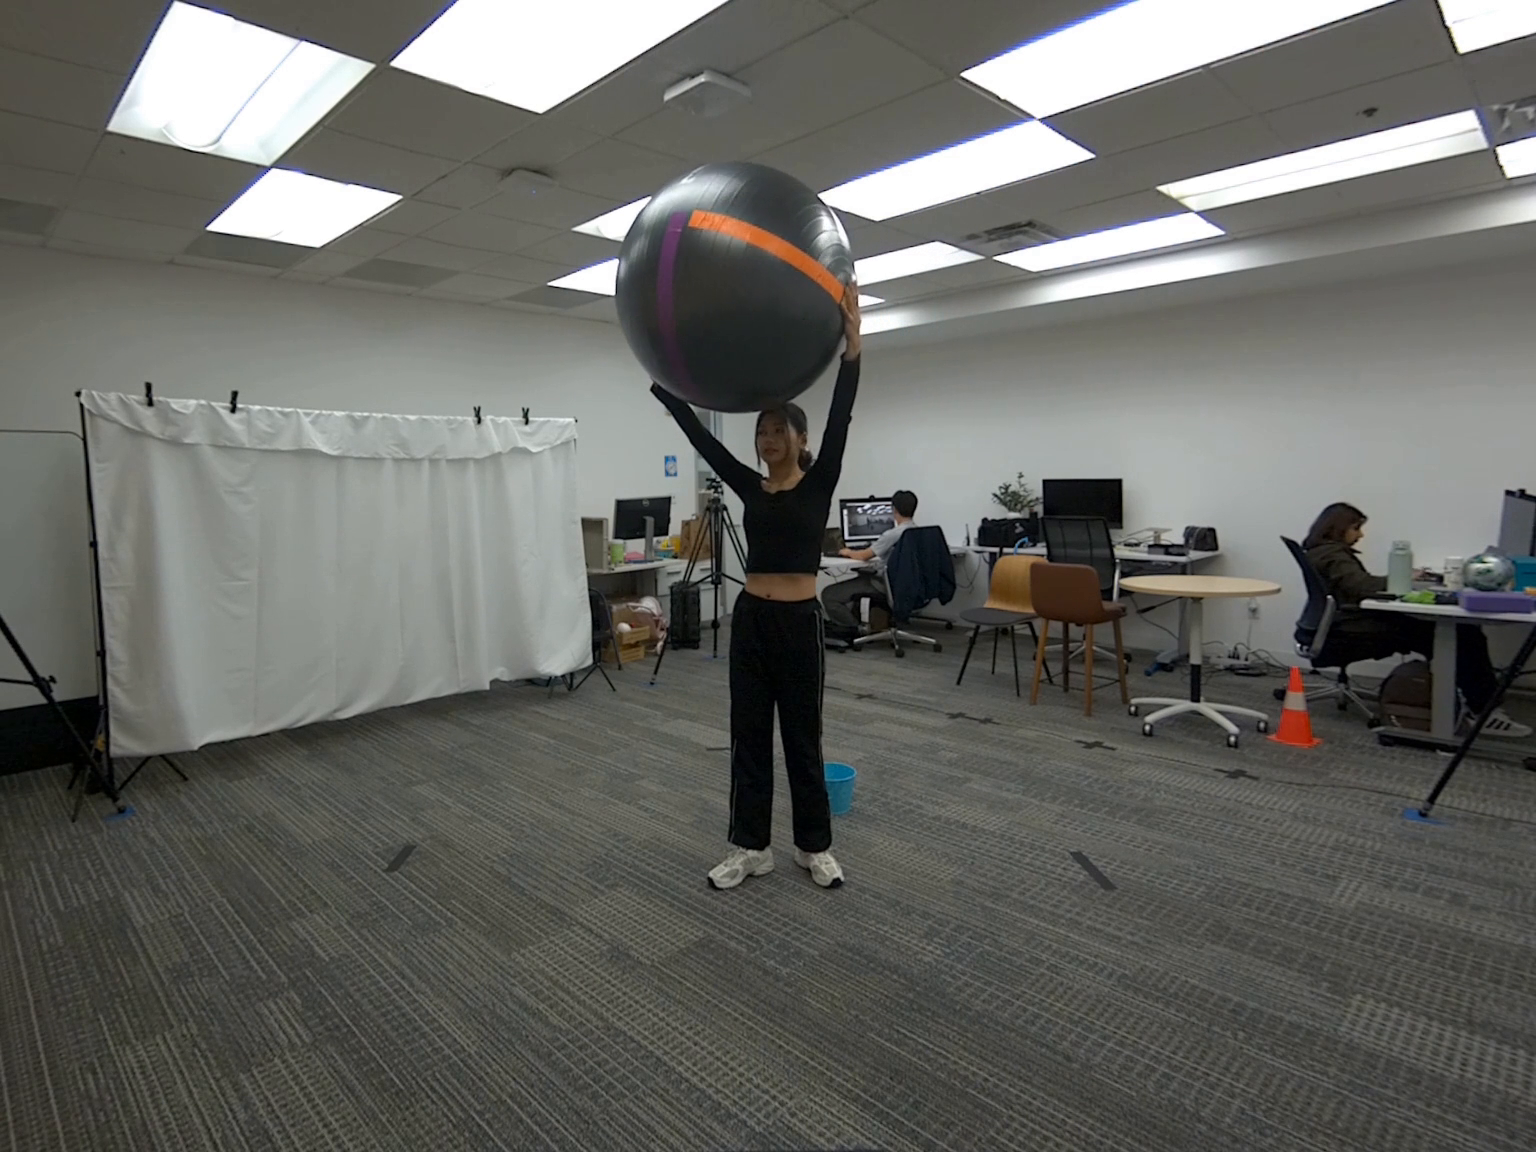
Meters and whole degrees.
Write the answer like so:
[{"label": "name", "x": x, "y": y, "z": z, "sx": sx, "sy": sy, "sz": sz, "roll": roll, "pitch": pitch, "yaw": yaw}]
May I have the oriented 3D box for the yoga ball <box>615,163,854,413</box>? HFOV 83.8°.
[{"label": "yoga ball", "x": -0.105, "y": -0.891, "z": 2.687, "sx": 0.757, "sy": 0.755, "sz": 0.762, "roll": -1, "pitch": 5, "yaw": -2}]
